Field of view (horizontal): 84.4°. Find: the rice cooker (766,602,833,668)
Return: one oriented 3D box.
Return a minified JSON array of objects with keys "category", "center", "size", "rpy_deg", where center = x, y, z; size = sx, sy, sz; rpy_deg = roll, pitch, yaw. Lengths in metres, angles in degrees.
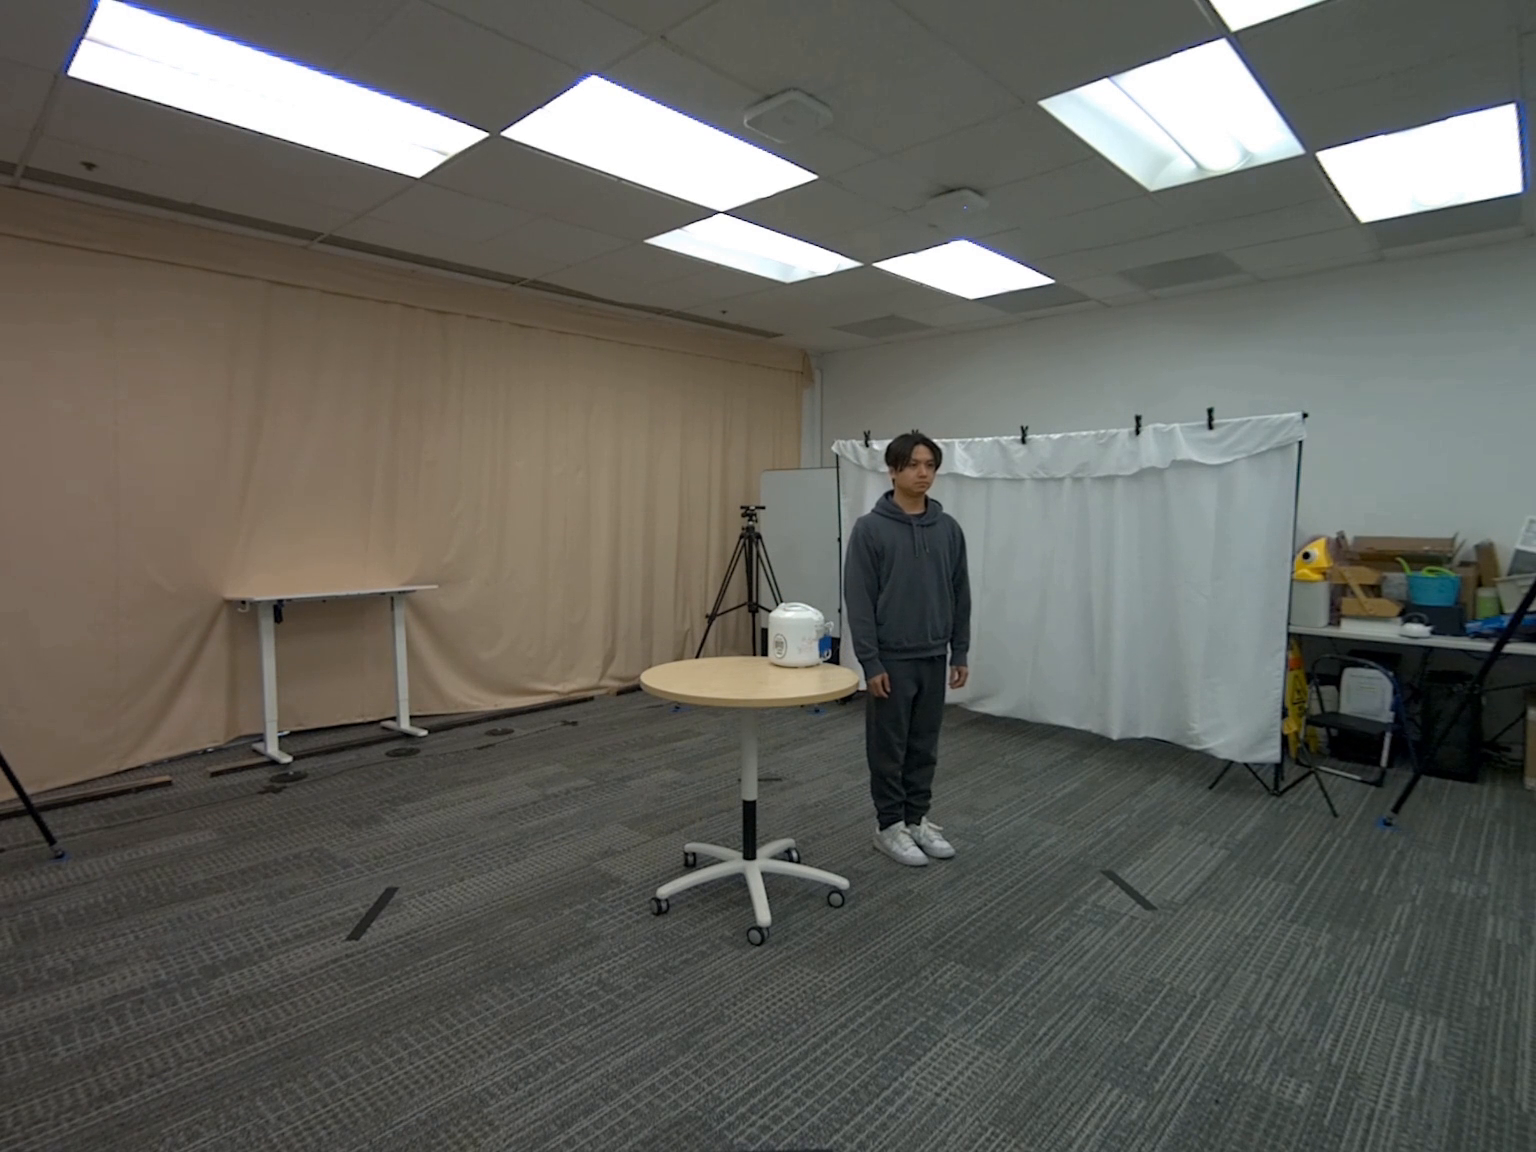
[{"category":"rice cooker","center":[0.108,0.217,3.169],"size":[0.228,0.232,0.211],"rpy_deg":[3,2,37]}]
